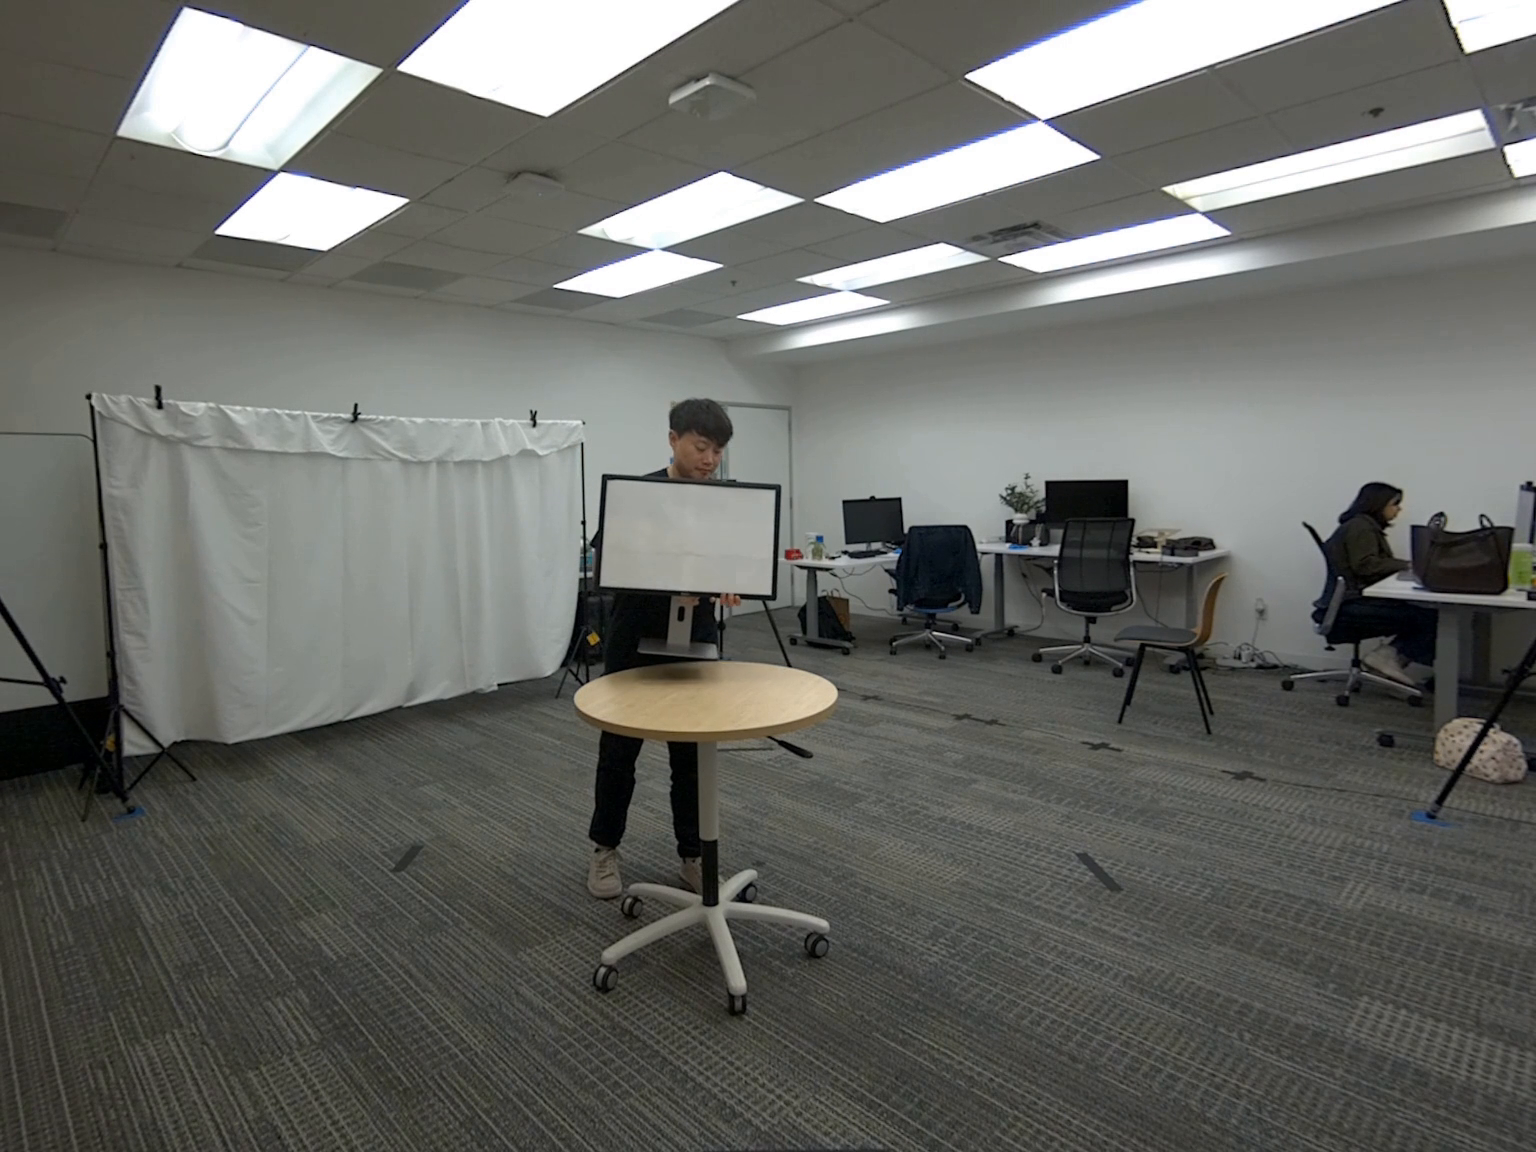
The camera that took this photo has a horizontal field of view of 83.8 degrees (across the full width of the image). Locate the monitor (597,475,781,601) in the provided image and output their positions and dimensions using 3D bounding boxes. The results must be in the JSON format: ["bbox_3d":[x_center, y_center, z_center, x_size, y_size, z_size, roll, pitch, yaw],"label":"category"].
[{"bbox_3d":[-0.268,-0.019,2.679,0.537,0.520,0.188,2,5,-3],"label":"monitor"}]
